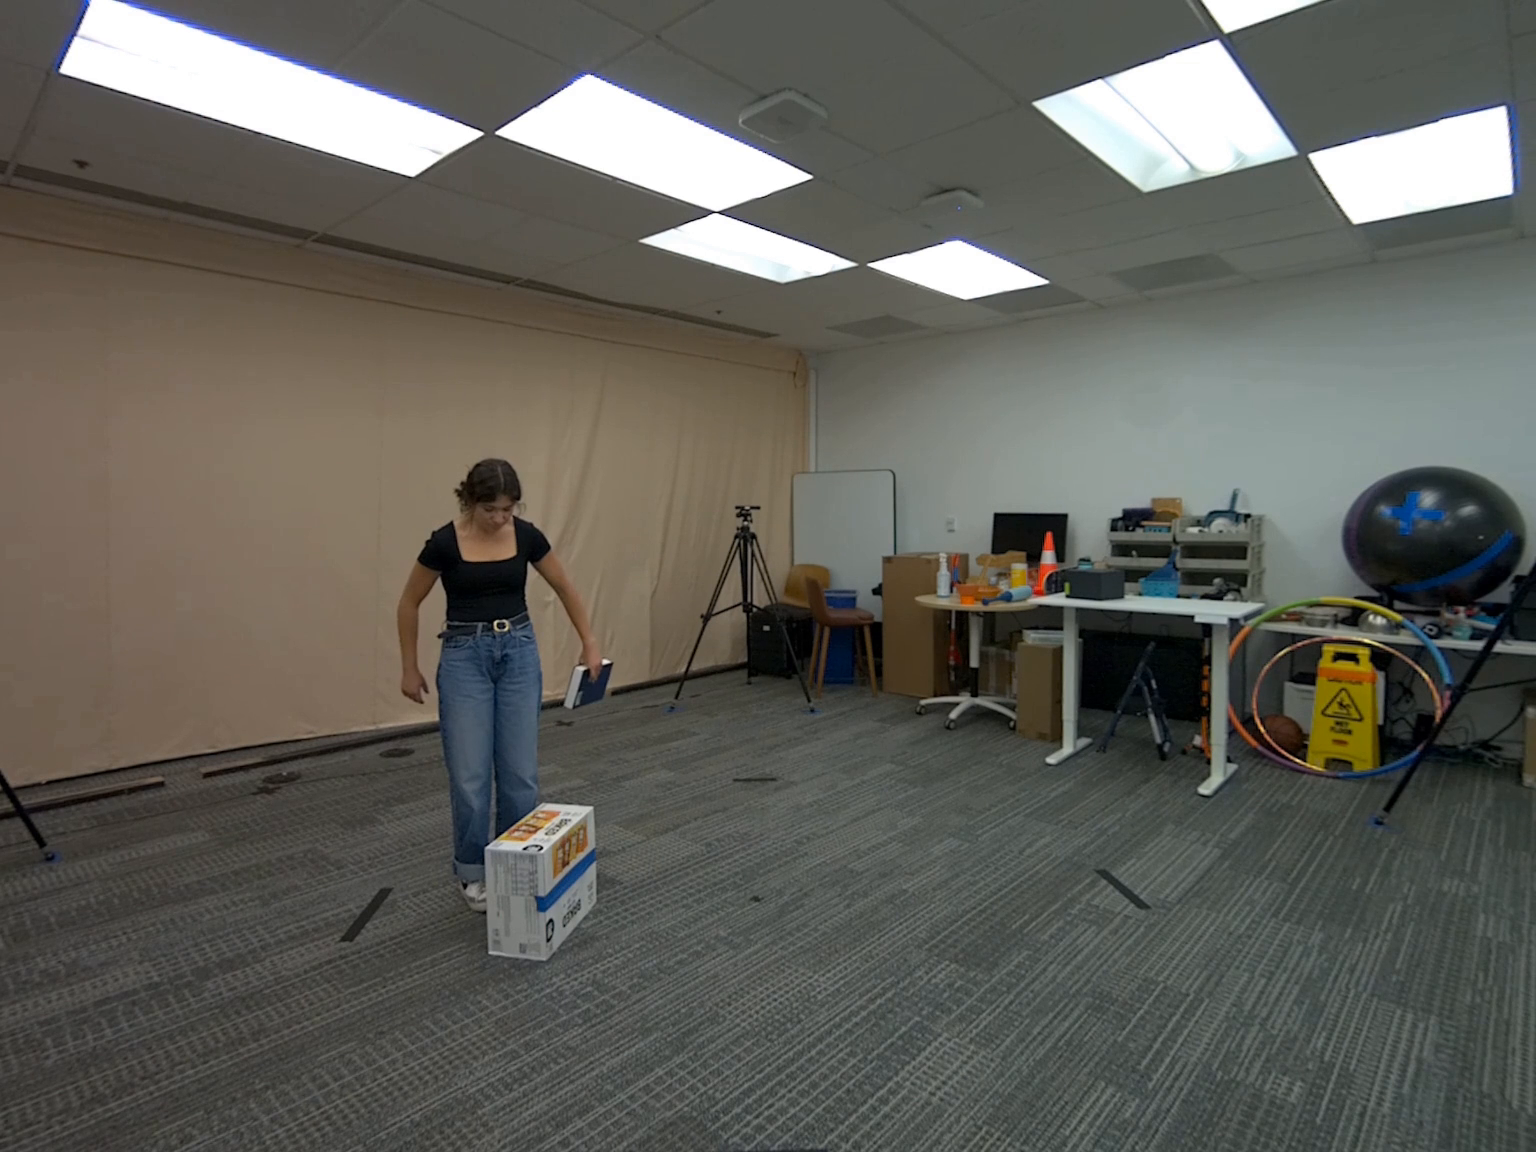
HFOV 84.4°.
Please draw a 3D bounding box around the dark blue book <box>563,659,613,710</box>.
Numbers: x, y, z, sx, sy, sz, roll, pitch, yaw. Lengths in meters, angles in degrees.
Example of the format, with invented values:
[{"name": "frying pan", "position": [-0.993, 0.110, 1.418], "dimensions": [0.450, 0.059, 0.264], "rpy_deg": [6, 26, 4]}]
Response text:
[{"name": "dark blue book", "position": [-0.697, 0.419, 3.250], "dimensions": [0.046, 0.163, 0.241], "rpy_deg": [19, 8, 14]}]
